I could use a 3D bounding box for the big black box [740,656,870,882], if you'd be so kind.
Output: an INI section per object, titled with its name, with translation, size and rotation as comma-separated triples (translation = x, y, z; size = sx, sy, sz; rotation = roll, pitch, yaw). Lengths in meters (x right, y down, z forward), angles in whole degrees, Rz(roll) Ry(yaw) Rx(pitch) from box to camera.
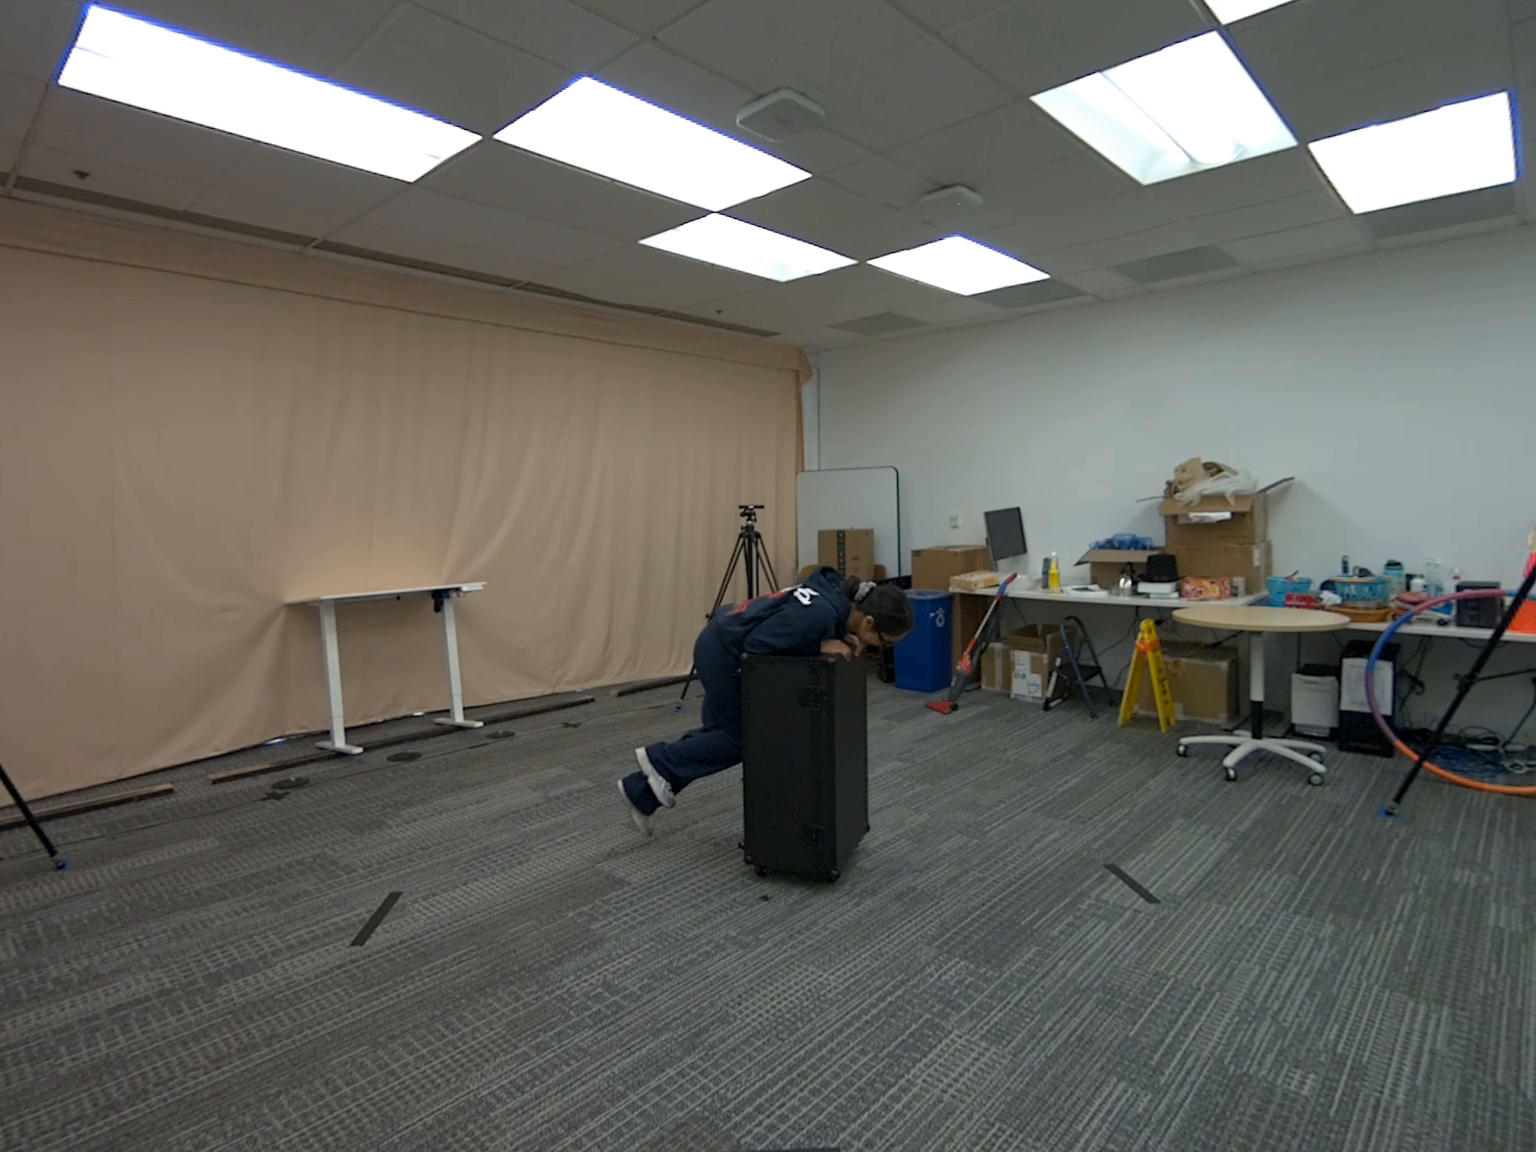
[big black box]
translation = 0.141, 0.696, 3.233
size = 0.405, 0.859, 0.510
rotation = 0, 4, 22
